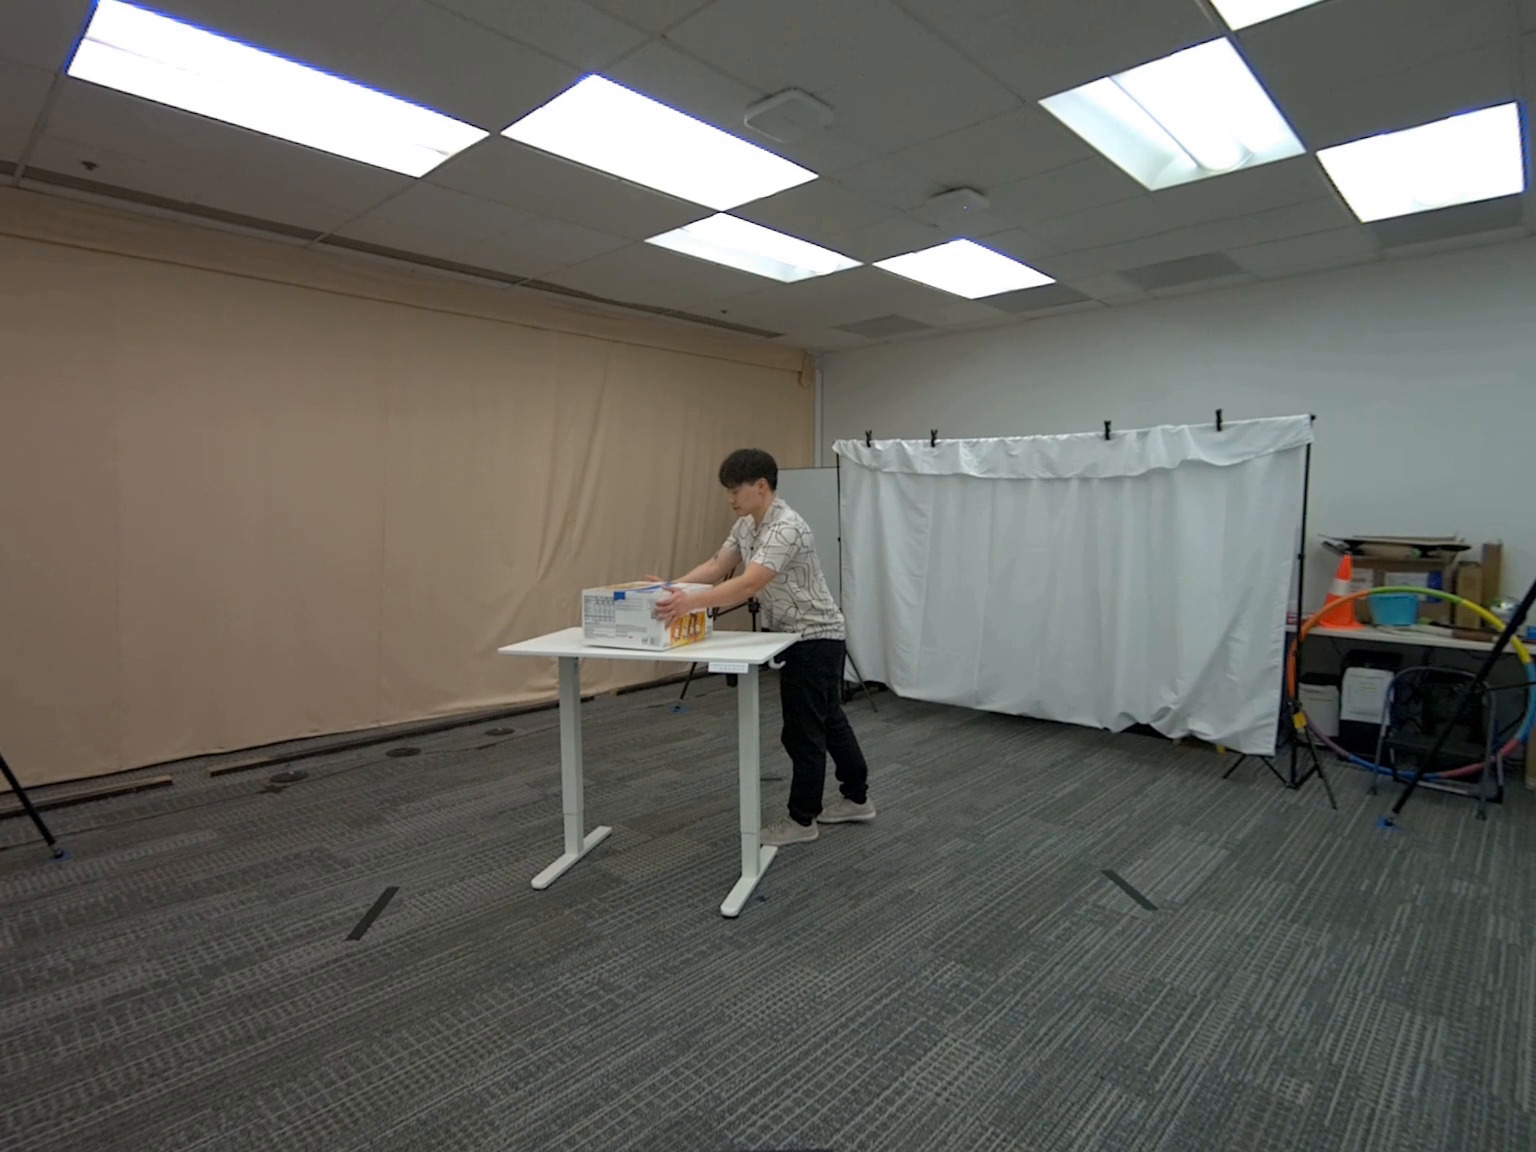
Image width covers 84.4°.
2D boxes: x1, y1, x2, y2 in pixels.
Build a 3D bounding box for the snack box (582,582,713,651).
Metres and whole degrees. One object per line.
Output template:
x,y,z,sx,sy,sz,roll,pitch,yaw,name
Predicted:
-0.443,0.143,3.178,0.349,0.205,0.396,1,4,24,snack box
